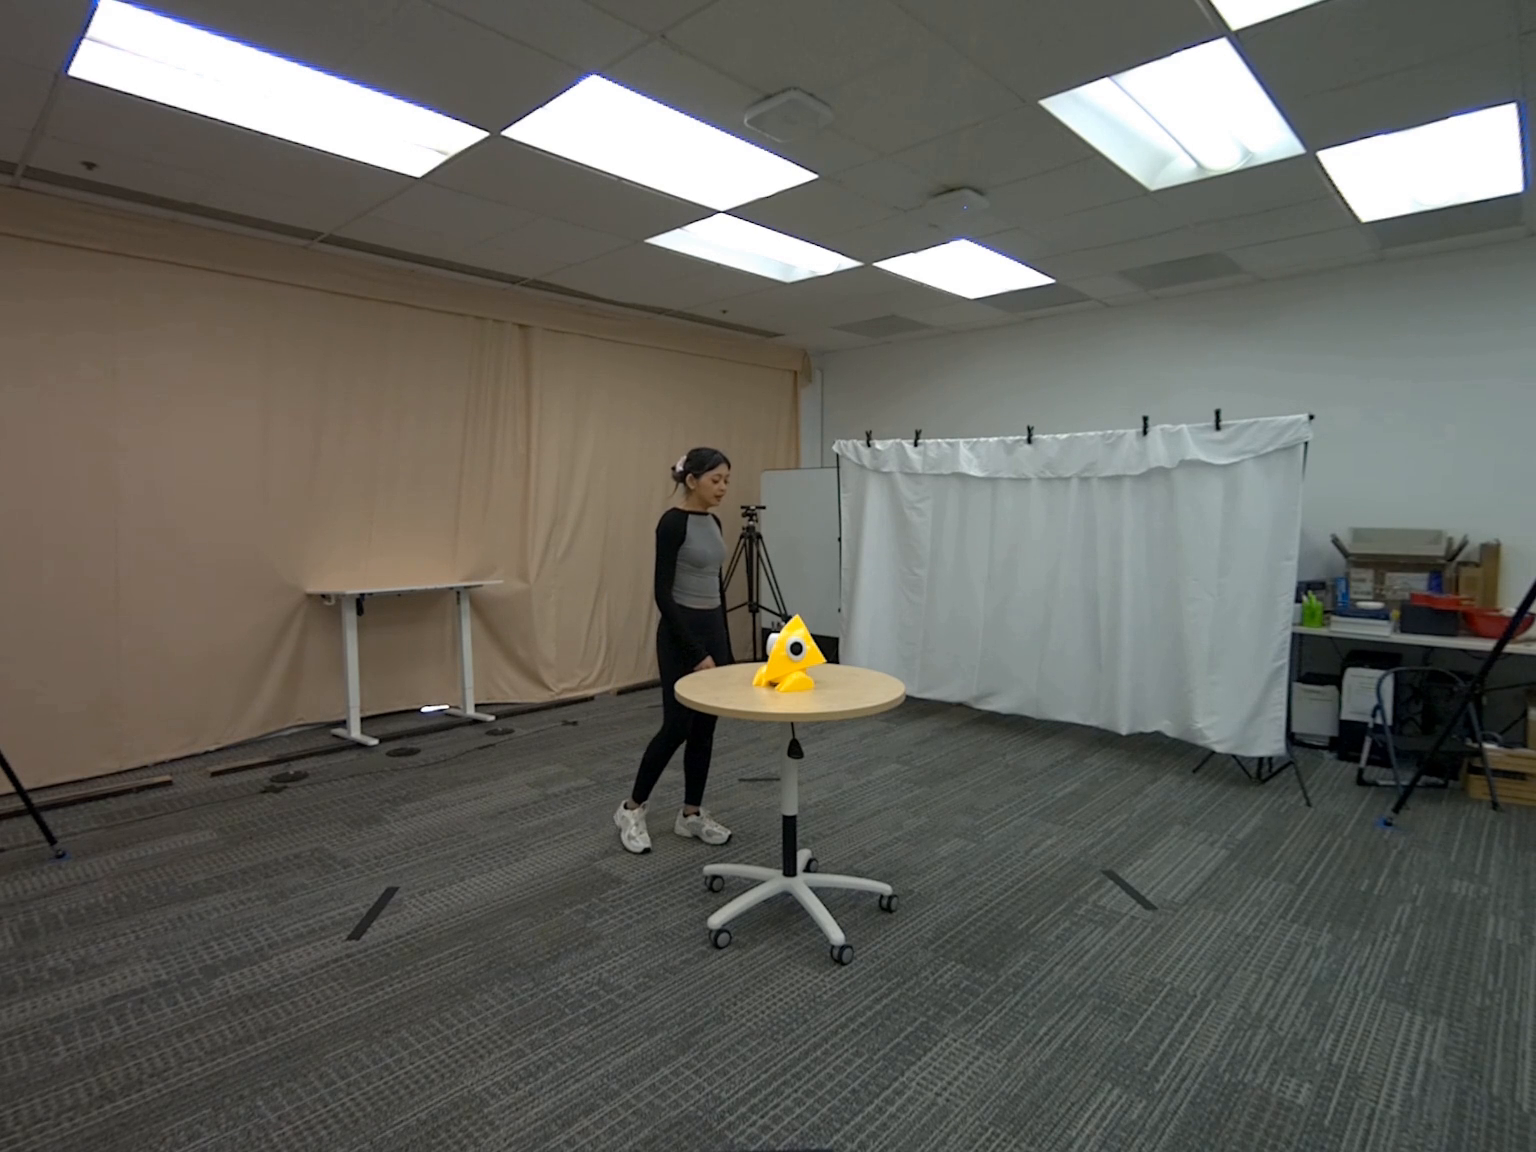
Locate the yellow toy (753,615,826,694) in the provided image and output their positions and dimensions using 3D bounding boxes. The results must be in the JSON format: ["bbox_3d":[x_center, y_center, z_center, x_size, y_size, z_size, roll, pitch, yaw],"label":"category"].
[{"bbox_3d":[0.062,0.251,2.809,0.187,0.230,0.211,-4,6,-43],"label":"yellow toy"}]
